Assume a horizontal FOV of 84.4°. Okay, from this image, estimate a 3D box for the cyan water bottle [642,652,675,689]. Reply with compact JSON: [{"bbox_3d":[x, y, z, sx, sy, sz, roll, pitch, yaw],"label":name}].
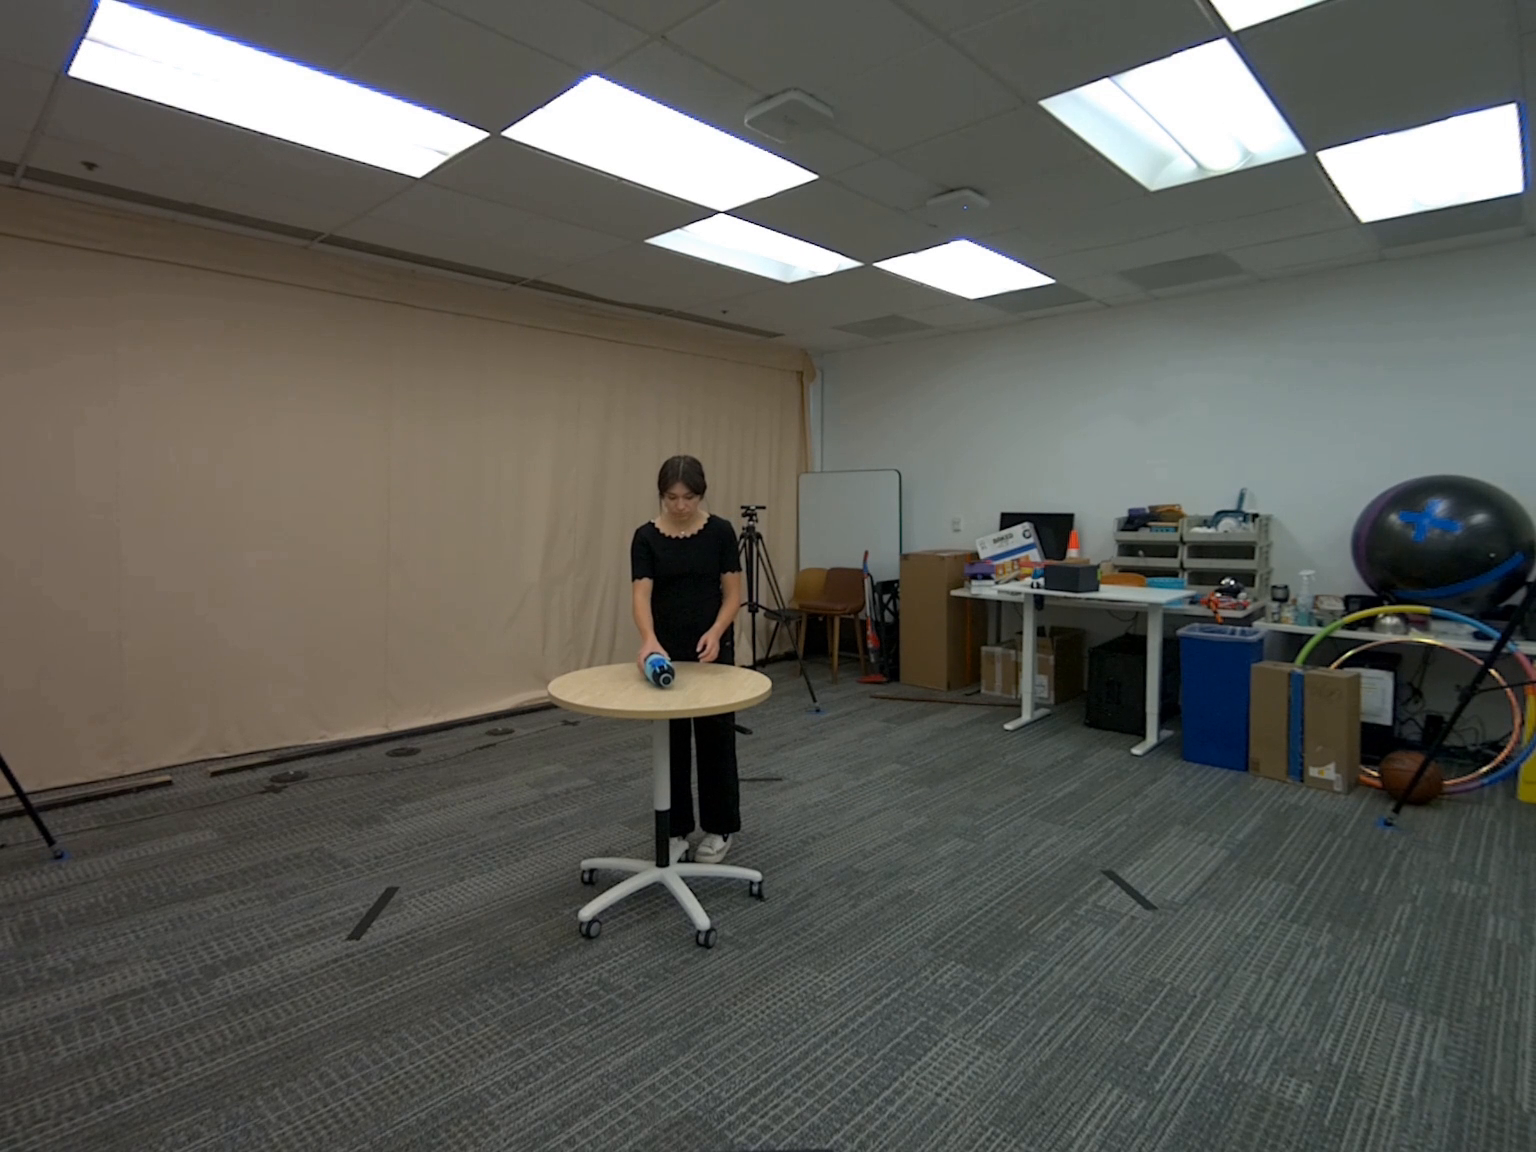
[{"bbox_3d":[-0.387,0.310,2.921,0.091,0.092,0.288,-1,8,-14],"label":"cyan water bottle"}]
